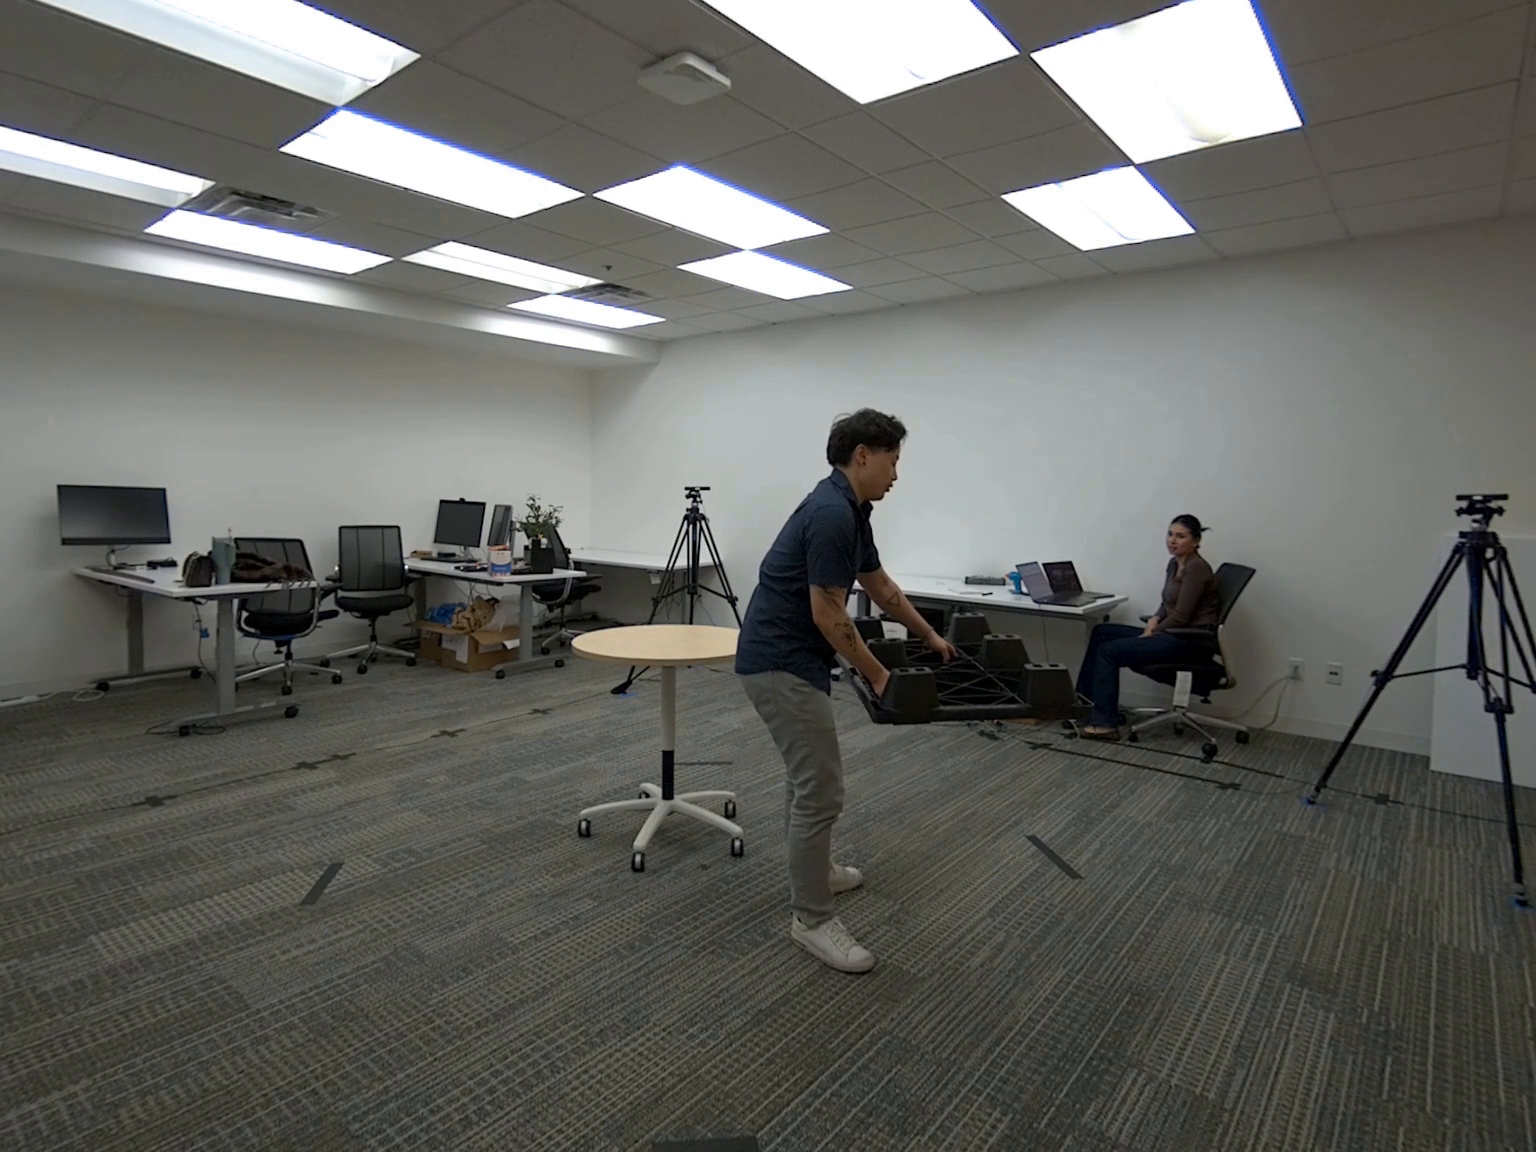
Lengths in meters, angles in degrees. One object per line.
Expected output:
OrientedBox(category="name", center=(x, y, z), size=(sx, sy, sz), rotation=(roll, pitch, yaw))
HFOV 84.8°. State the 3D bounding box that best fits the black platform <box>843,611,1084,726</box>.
OrientedBox(category="black platform", center=(0.557, 0.266, 2.669), size=(0.604, 0.142, 0.814), rotation=(-3, 10, -3))
